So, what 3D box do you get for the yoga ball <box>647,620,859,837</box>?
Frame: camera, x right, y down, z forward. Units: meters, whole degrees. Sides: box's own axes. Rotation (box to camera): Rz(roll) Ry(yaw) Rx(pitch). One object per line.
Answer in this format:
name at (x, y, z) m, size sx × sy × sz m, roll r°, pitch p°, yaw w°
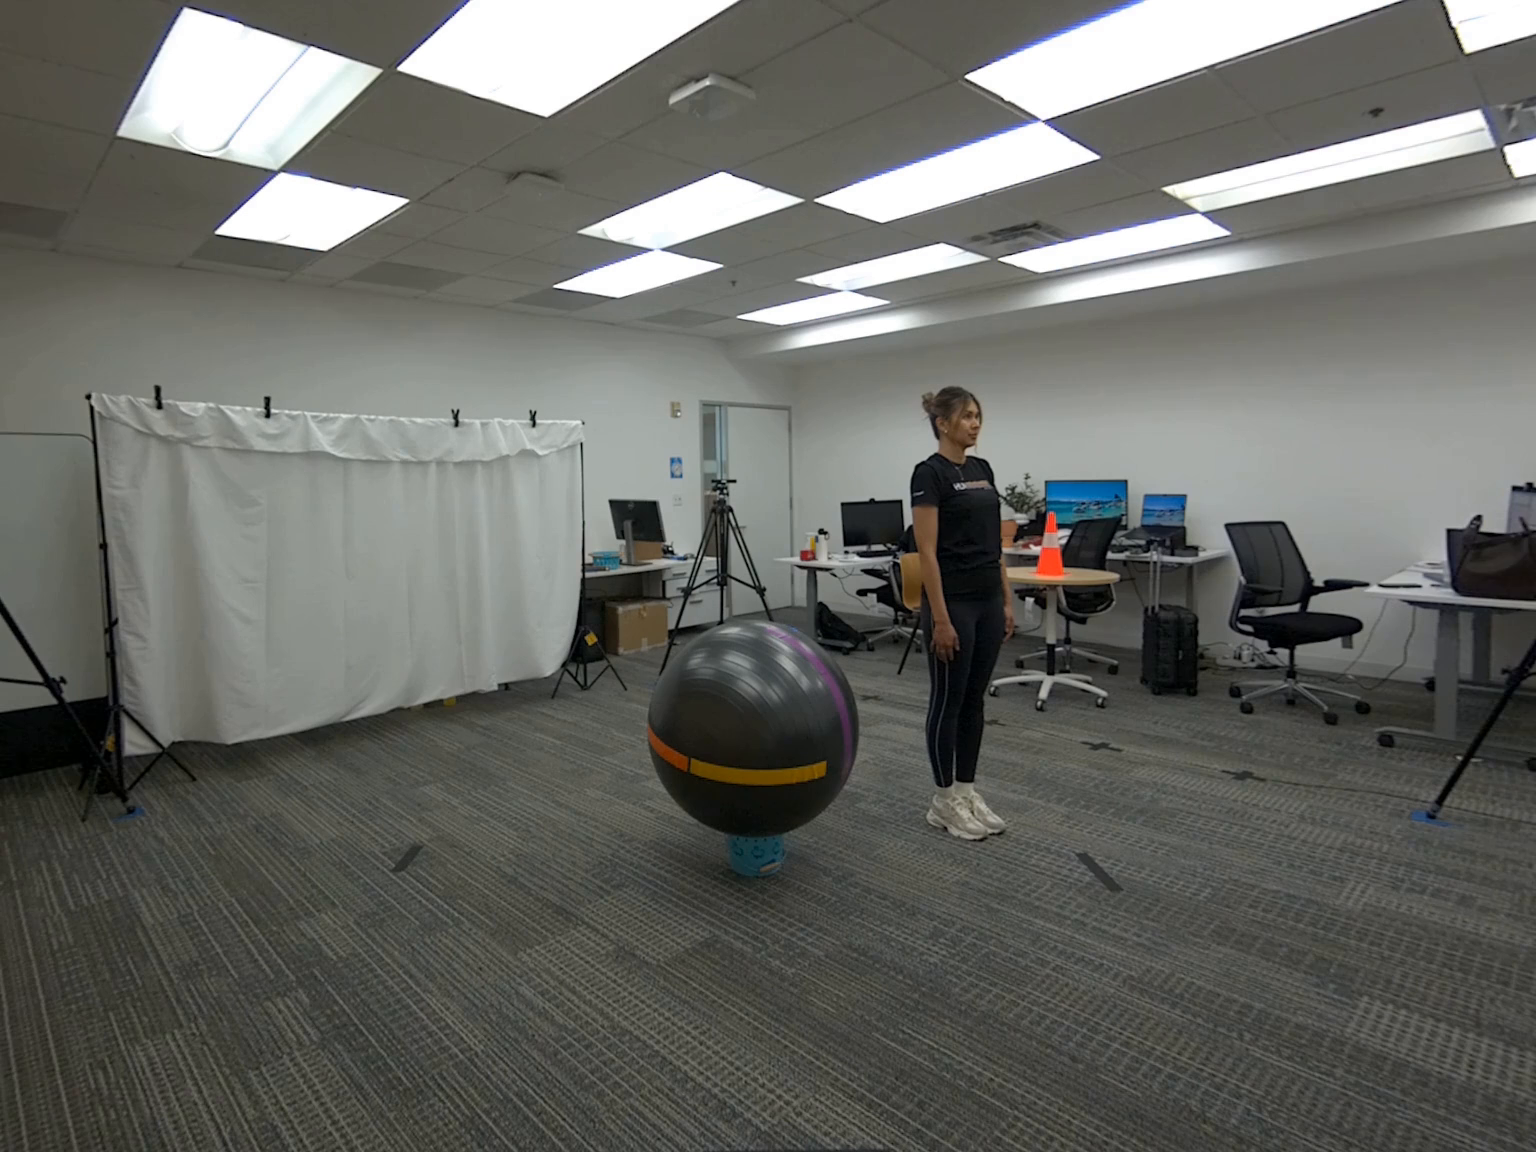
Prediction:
yoga ball at (-0.054, 0.539, 3.074) m, size 0.757 × 0.755 × 0.762 m, roll -1°, pitch 5°, yaw -2°
